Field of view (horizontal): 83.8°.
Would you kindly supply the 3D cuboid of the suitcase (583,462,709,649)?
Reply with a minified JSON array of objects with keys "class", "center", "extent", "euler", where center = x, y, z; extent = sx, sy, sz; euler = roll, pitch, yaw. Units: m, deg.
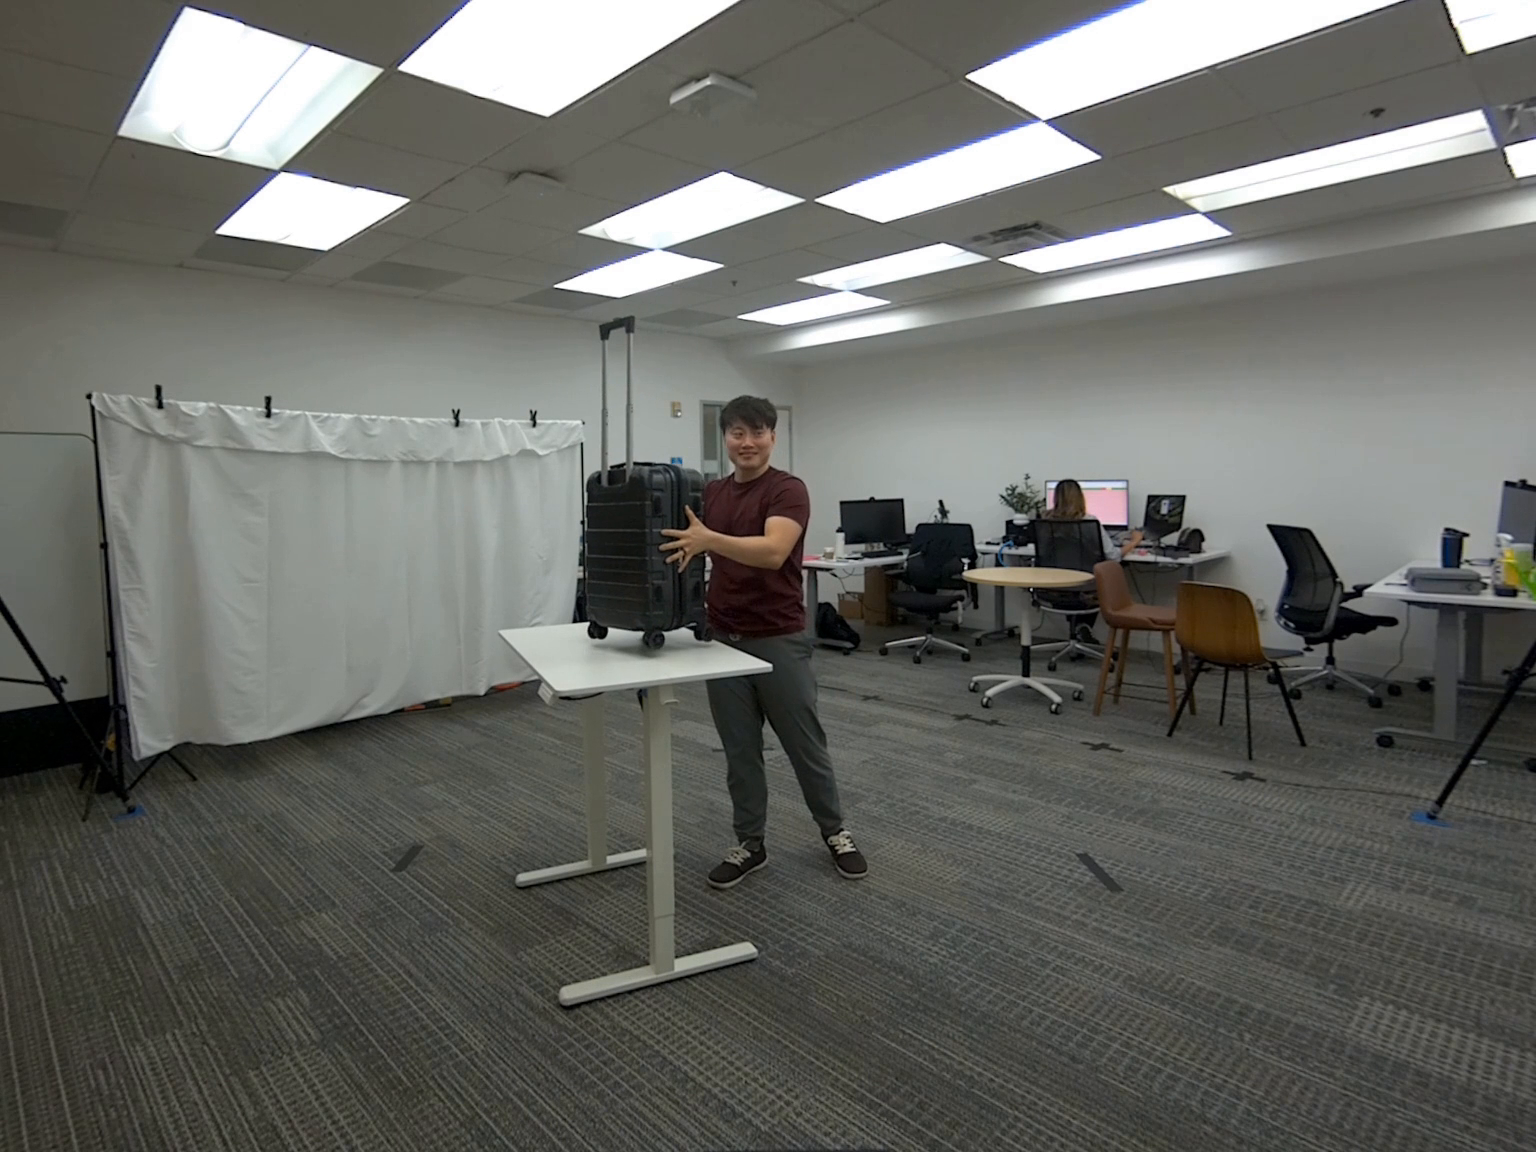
[{"class":"suitcase","center":[-0.377,-0.281,2.664],"extent":[0.250,0.977,0.396],"euler":[-1,3,-43]}]
